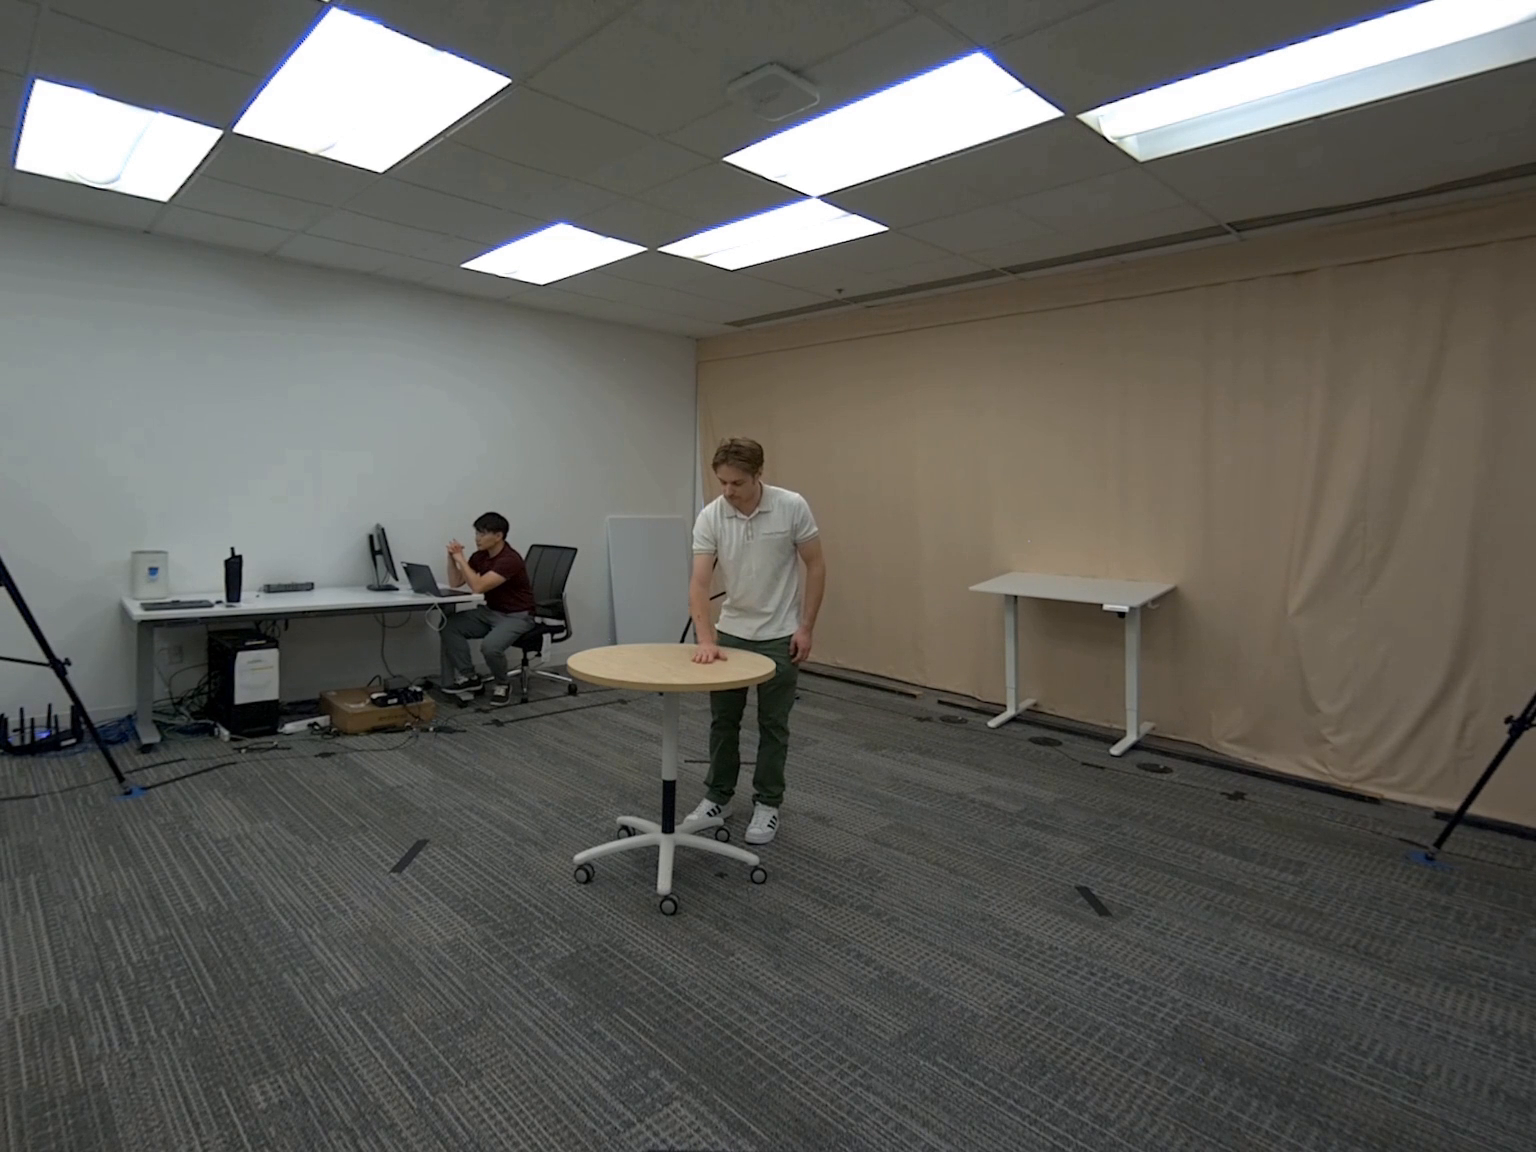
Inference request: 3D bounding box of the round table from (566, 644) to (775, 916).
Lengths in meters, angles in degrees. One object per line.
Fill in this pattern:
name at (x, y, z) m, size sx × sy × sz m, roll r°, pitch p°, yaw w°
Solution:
round table at (-0.387, 0.704, 3.120) m, size 0.784 × 0.785 × 0.787 m, roll 2°, pitch 4°, yaw -1°
